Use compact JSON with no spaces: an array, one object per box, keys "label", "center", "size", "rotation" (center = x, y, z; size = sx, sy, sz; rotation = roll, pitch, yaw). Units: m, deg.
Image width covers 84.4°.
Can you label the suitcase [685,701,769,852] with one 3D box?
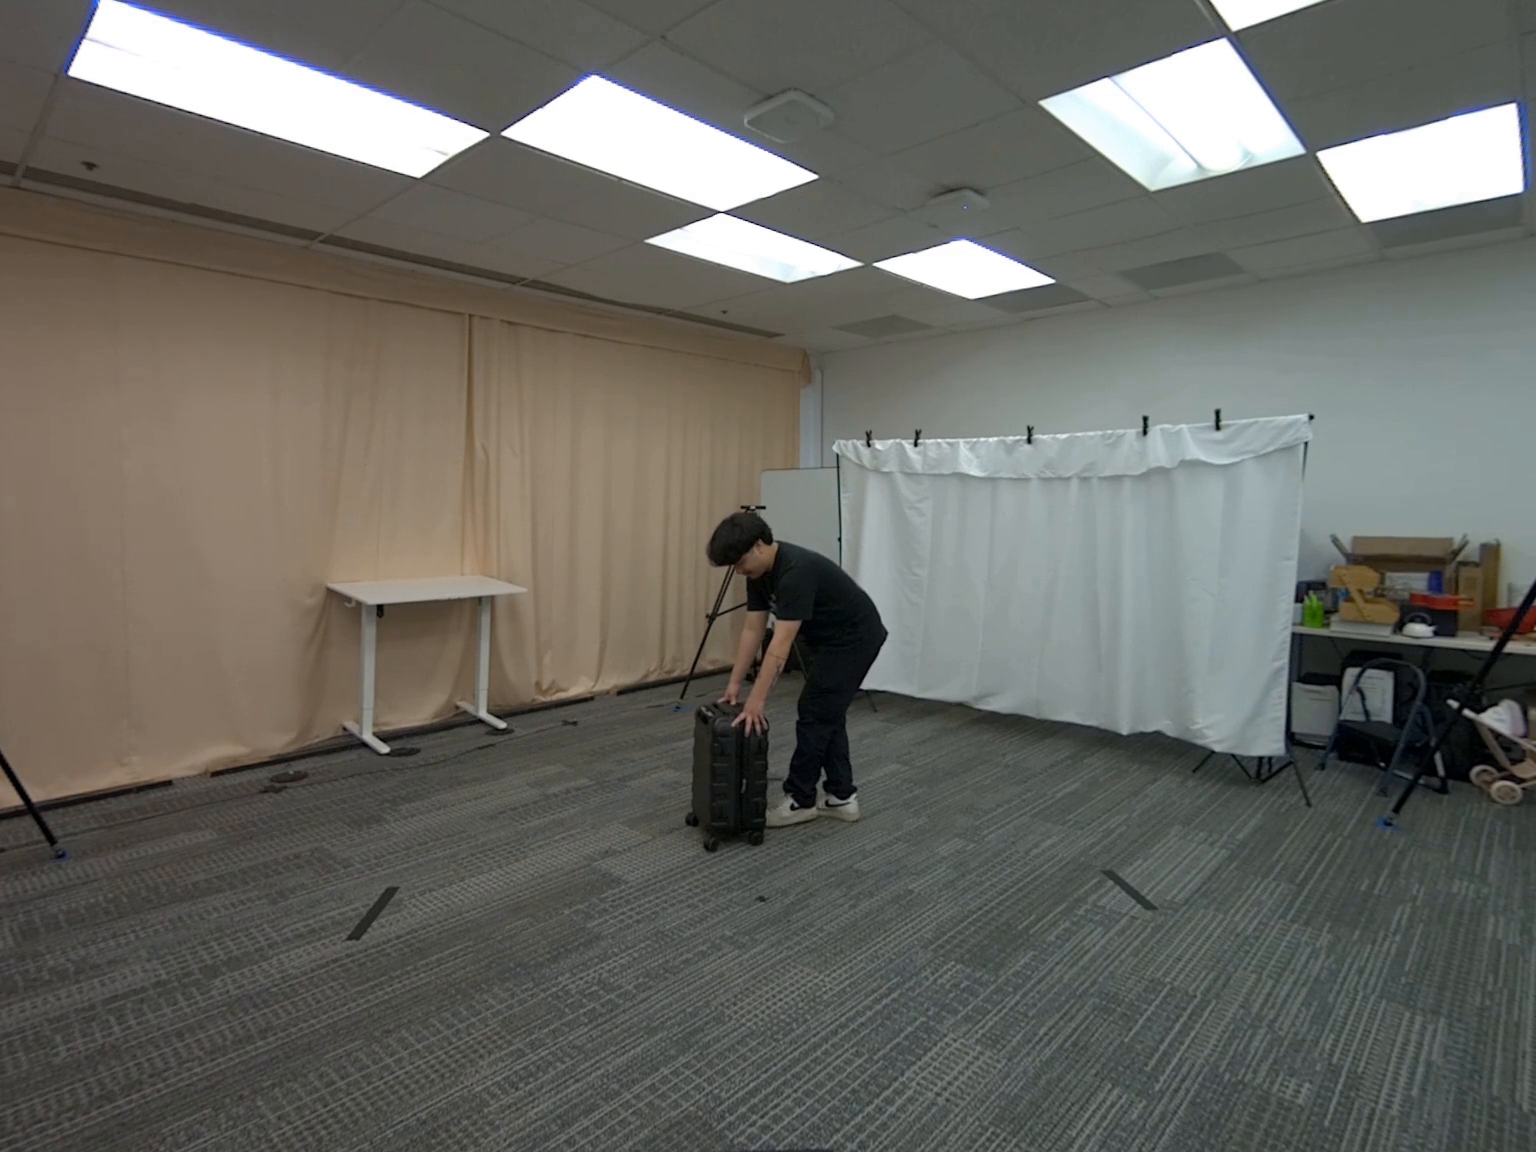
[{"label":"suitcase","center":[-0.161,0.823,3.580],"size":[0.244,0.549,0.383],"rotation":[2,1,-19]}]
